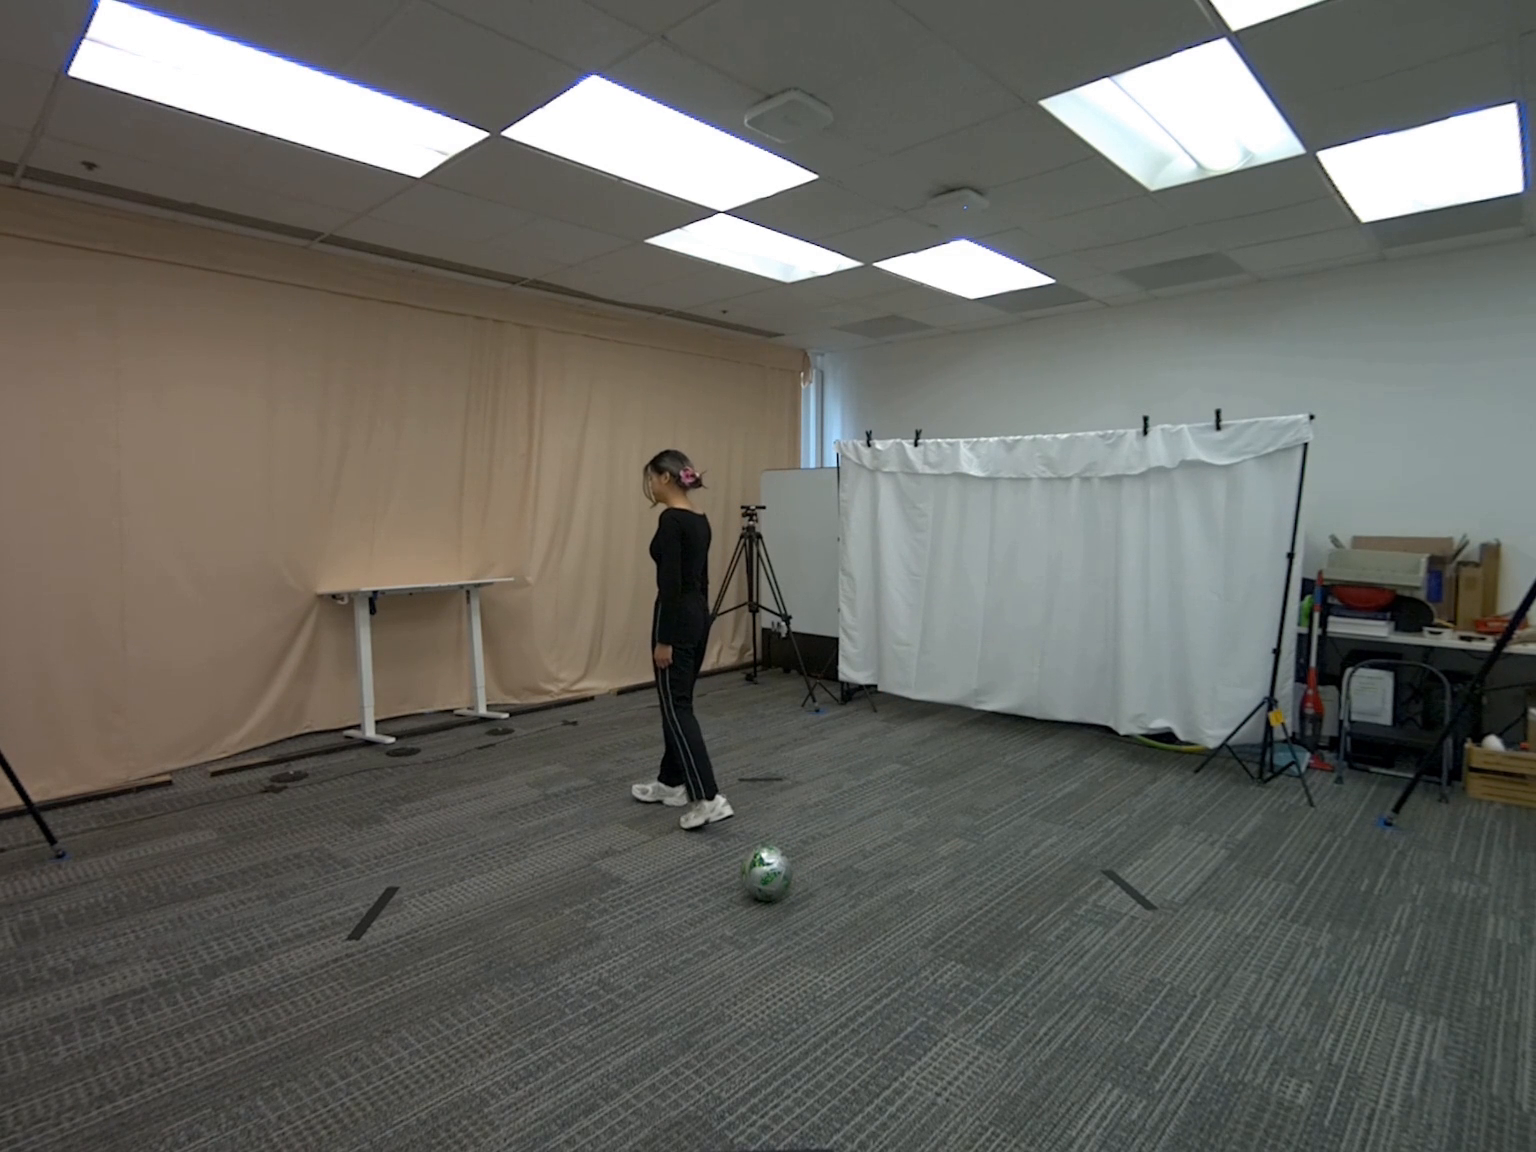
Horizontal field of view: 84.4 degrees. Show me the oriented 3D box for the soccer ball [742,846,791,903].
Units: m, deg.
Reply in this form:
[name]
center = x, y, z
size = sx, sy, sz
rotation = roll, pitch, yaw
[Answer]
[soccer ball]
center = -0.004, 1.048, 2.981
size = 0.187, 0.187, 0.188
rotation = 0, 4, -2
